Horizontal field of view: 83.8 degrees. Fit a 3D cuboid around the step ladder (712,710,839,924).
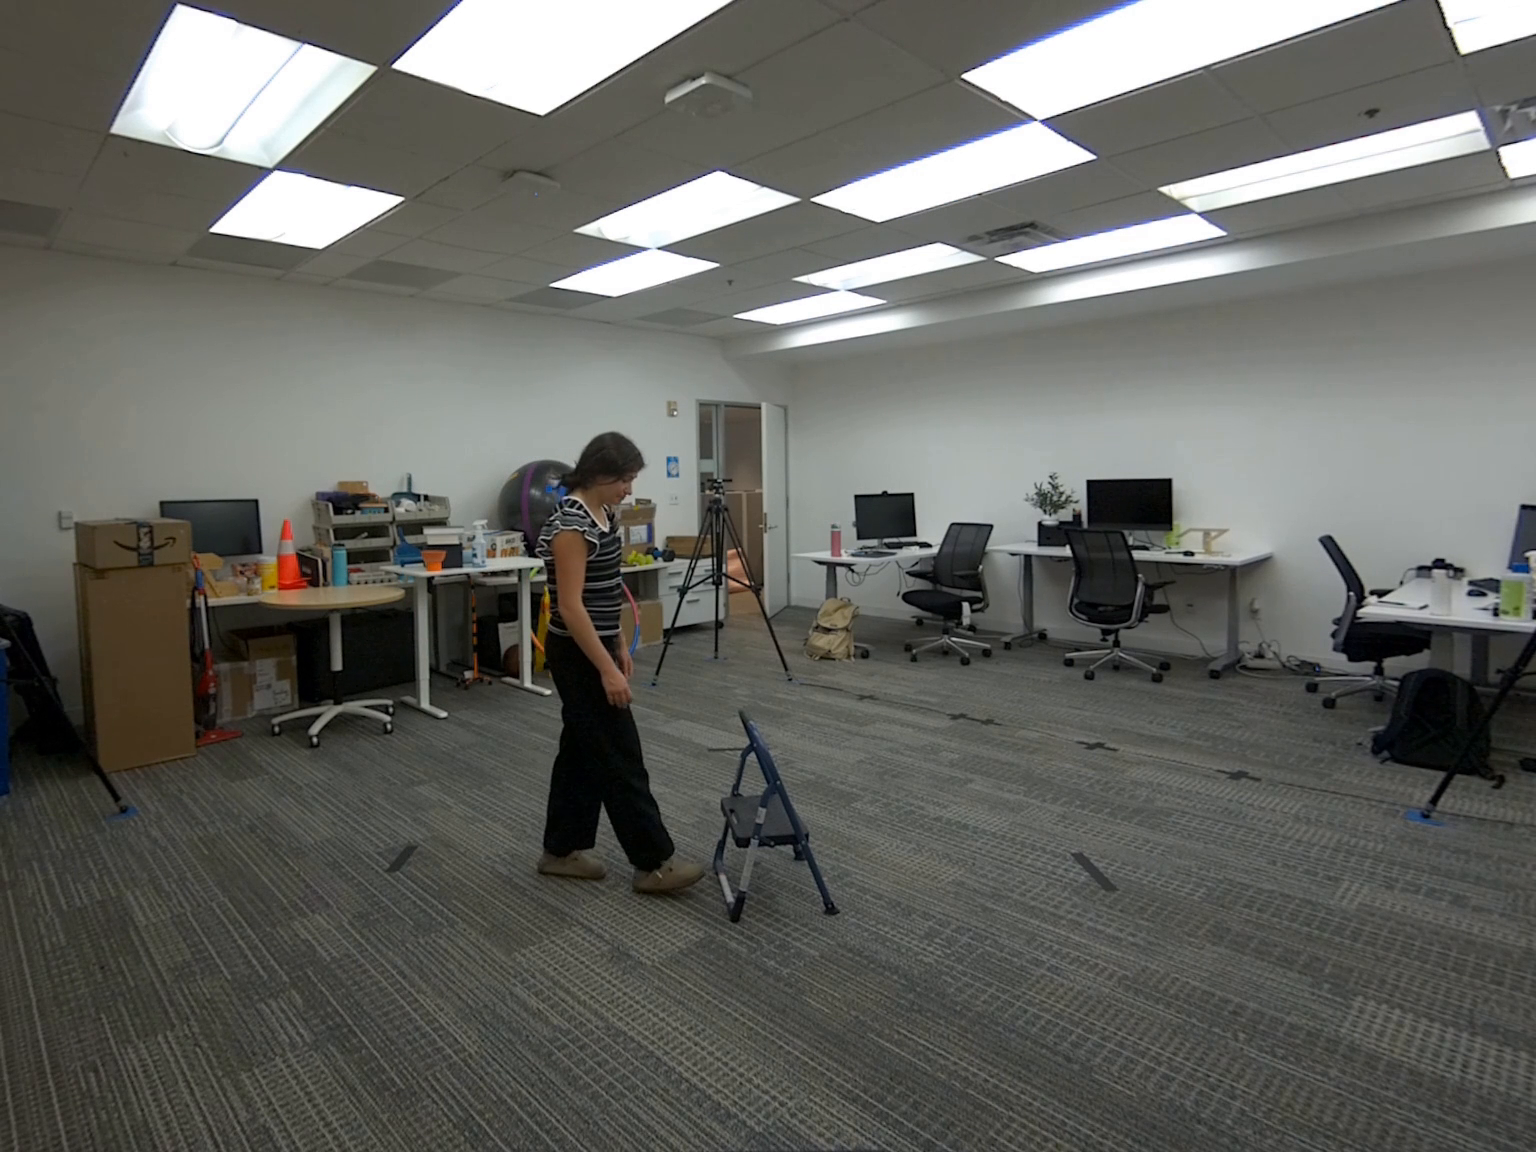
[{"bbox_3d":[0.002,0.764,2.899,0.346,0.604,0.437,-2,5,-12],"label":"step ladder"}]
